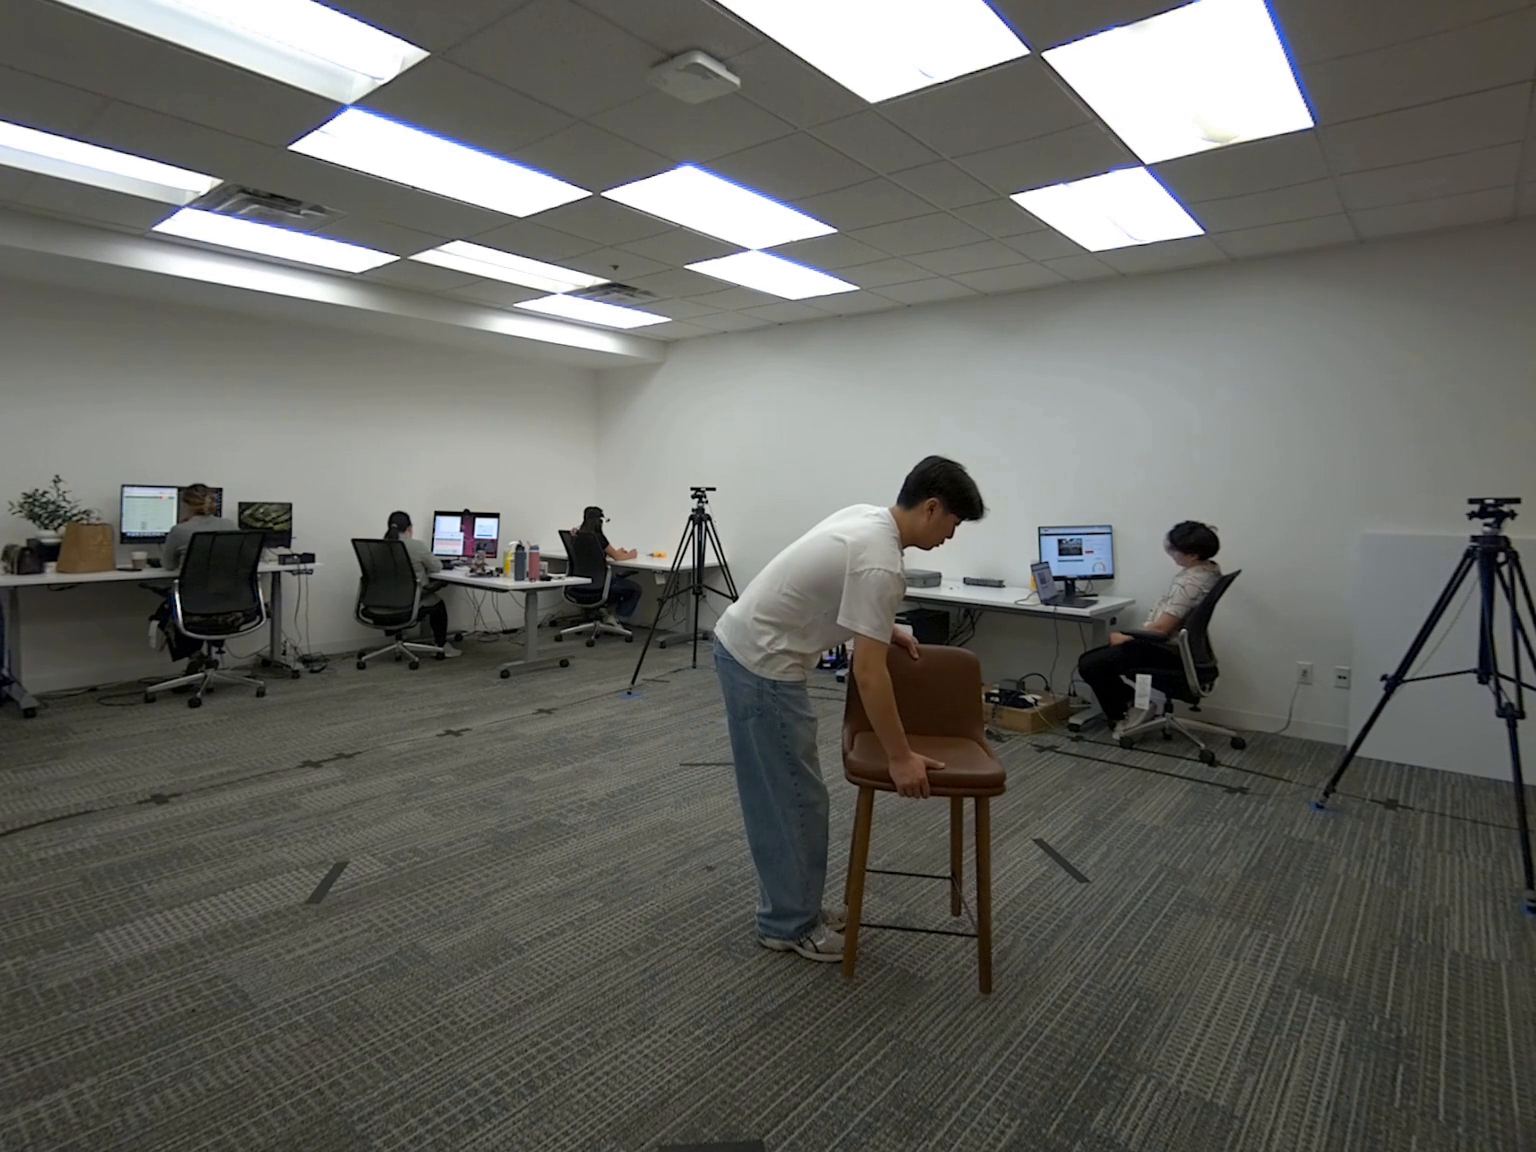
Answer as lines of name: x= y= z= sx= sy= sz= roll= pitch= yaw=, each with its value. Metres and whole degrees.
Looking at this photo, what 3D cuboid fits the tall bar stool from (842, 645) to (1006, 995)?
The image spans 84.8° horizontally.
tall bar stool: x=0.447 y=0.687 z=2.549 sx=0.460 sy=0.888 sz=0.465 roll=3 pitch=2 yaw=6
